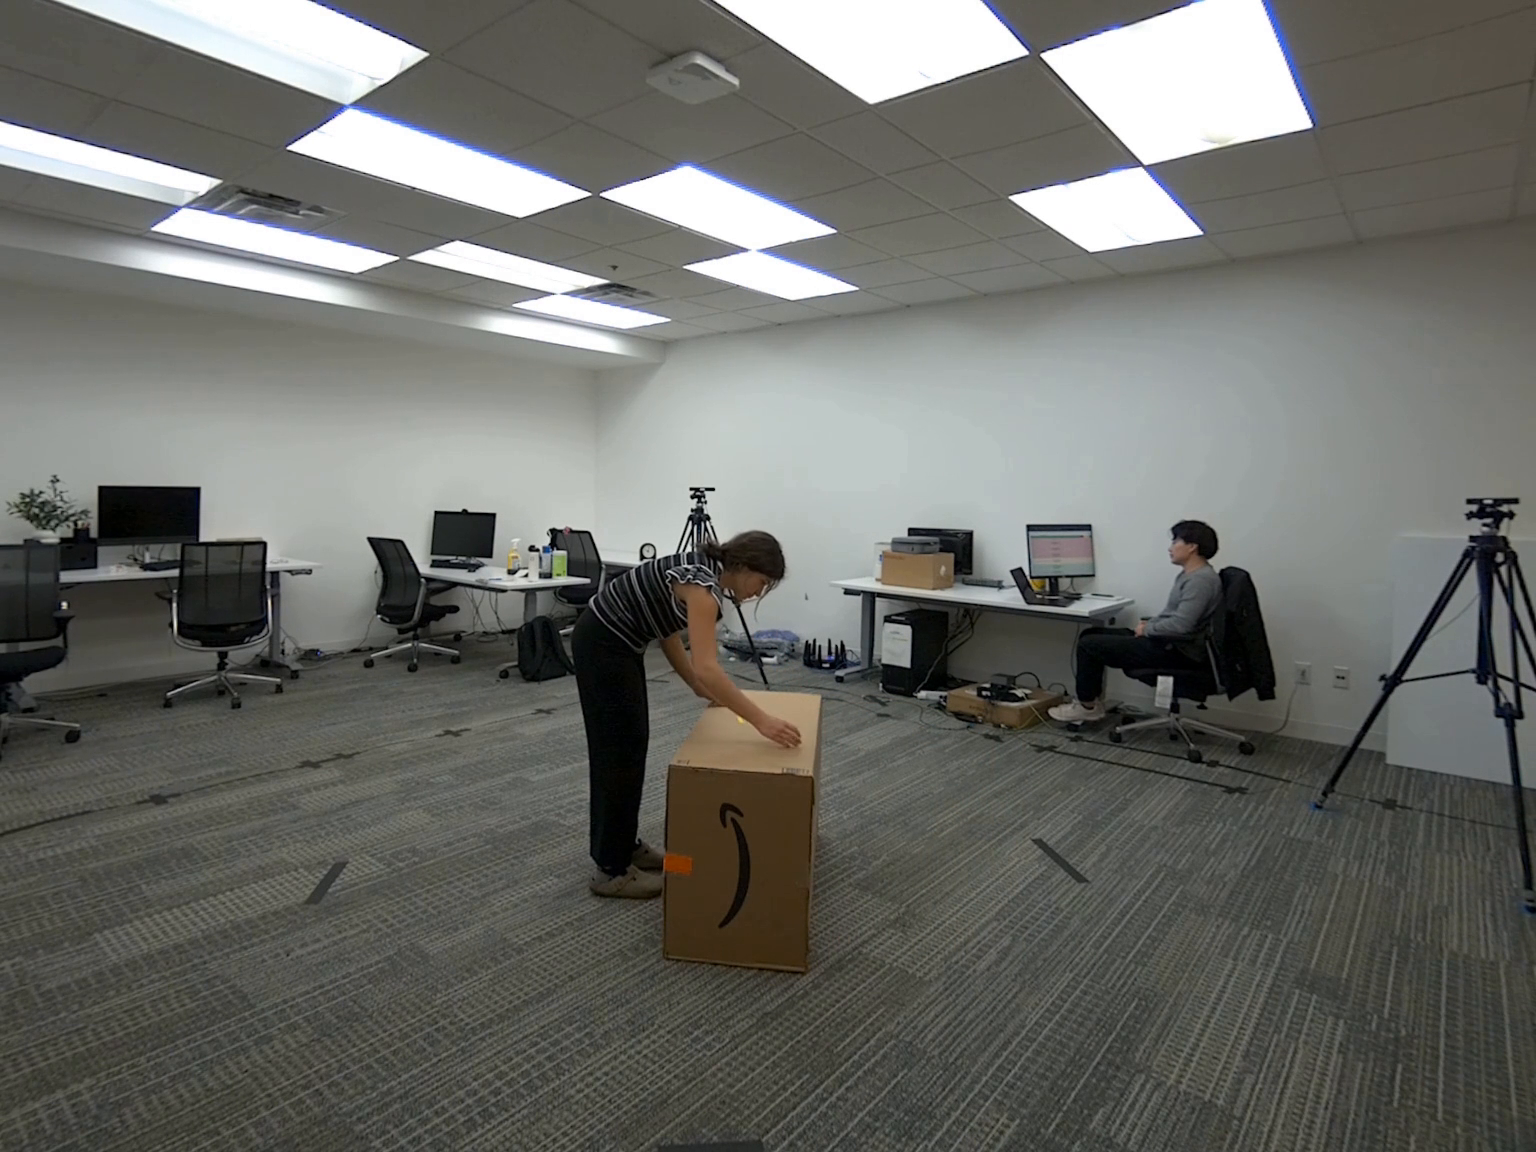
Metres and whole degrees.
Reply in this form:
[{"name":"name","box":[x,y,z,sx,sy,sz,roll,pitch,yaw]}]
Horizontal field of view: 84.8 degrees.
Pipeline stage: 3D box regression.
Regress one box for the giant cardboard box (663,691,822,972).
[{"name":"giant cardboard box","box":[-0.055,0.786,2.959,0.429,0.576,1.022,1,4,5]}]
